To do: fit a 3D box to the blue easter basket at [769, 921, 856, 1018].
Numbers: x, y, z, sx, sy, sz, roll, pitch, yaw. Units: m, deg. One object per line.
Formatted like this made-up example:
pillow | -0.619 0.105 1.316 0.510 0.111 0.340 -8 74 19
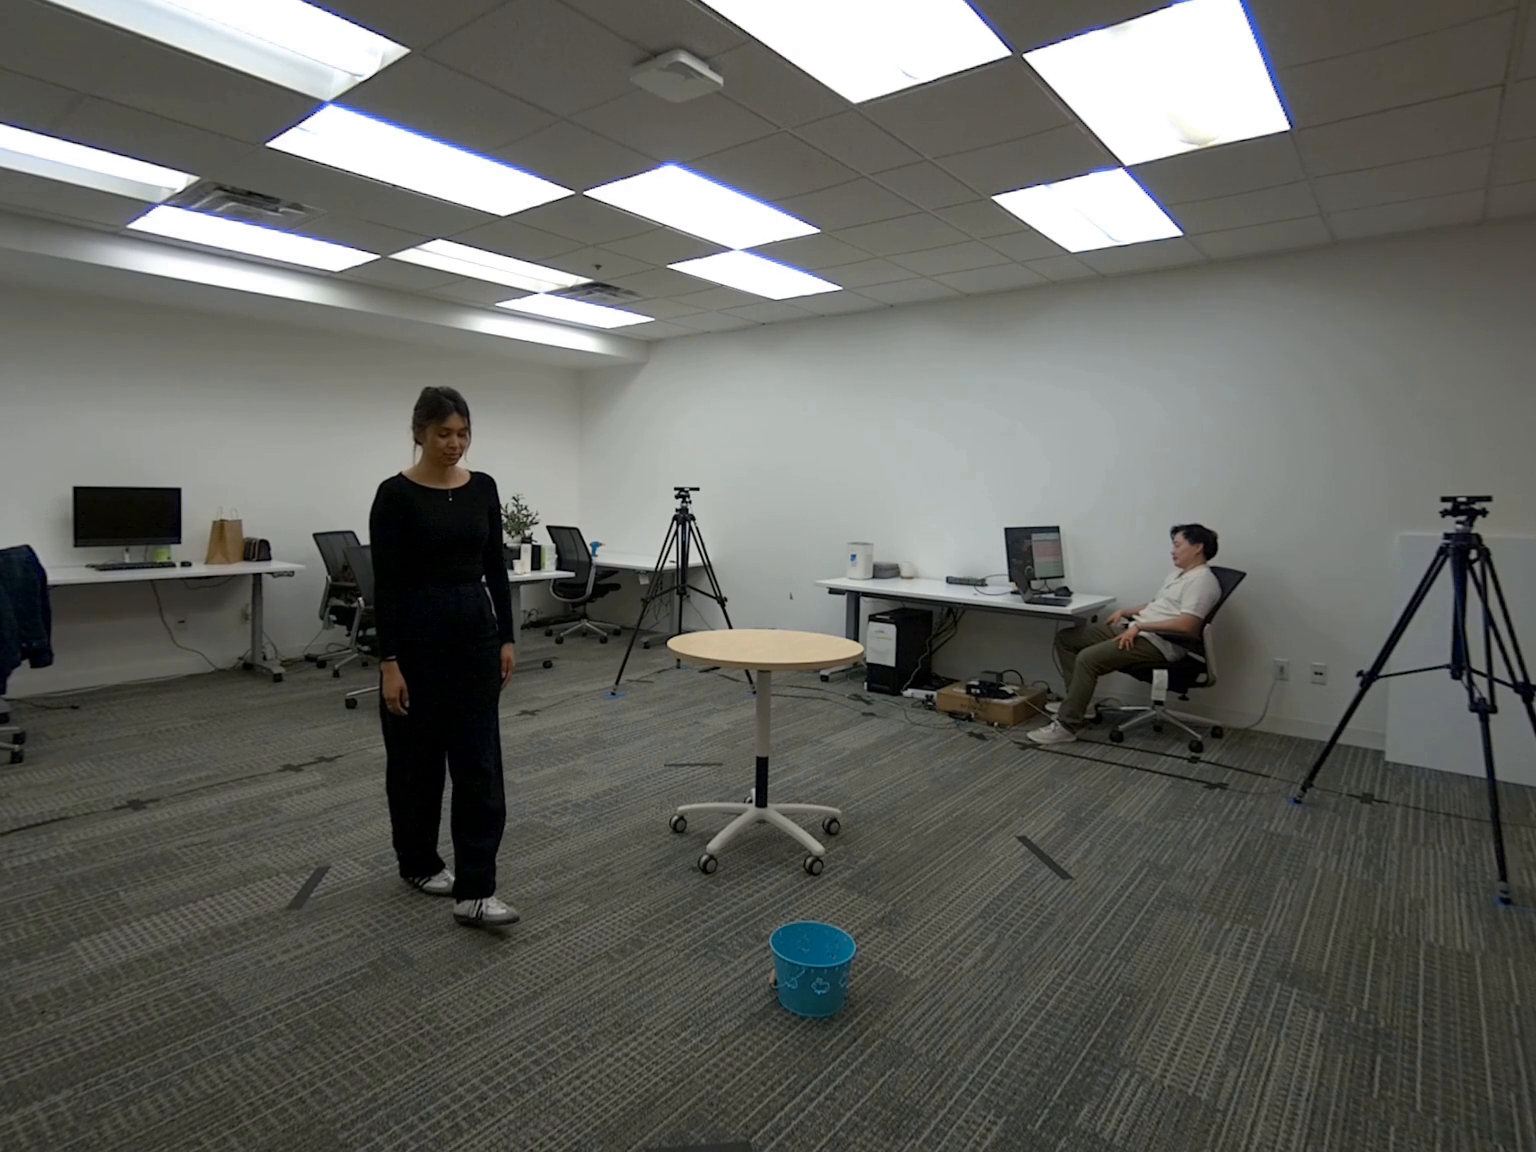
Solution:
blue easter basket | 0.109 1.076 2.328 0.243 0.155 0.245 1 5 -2
